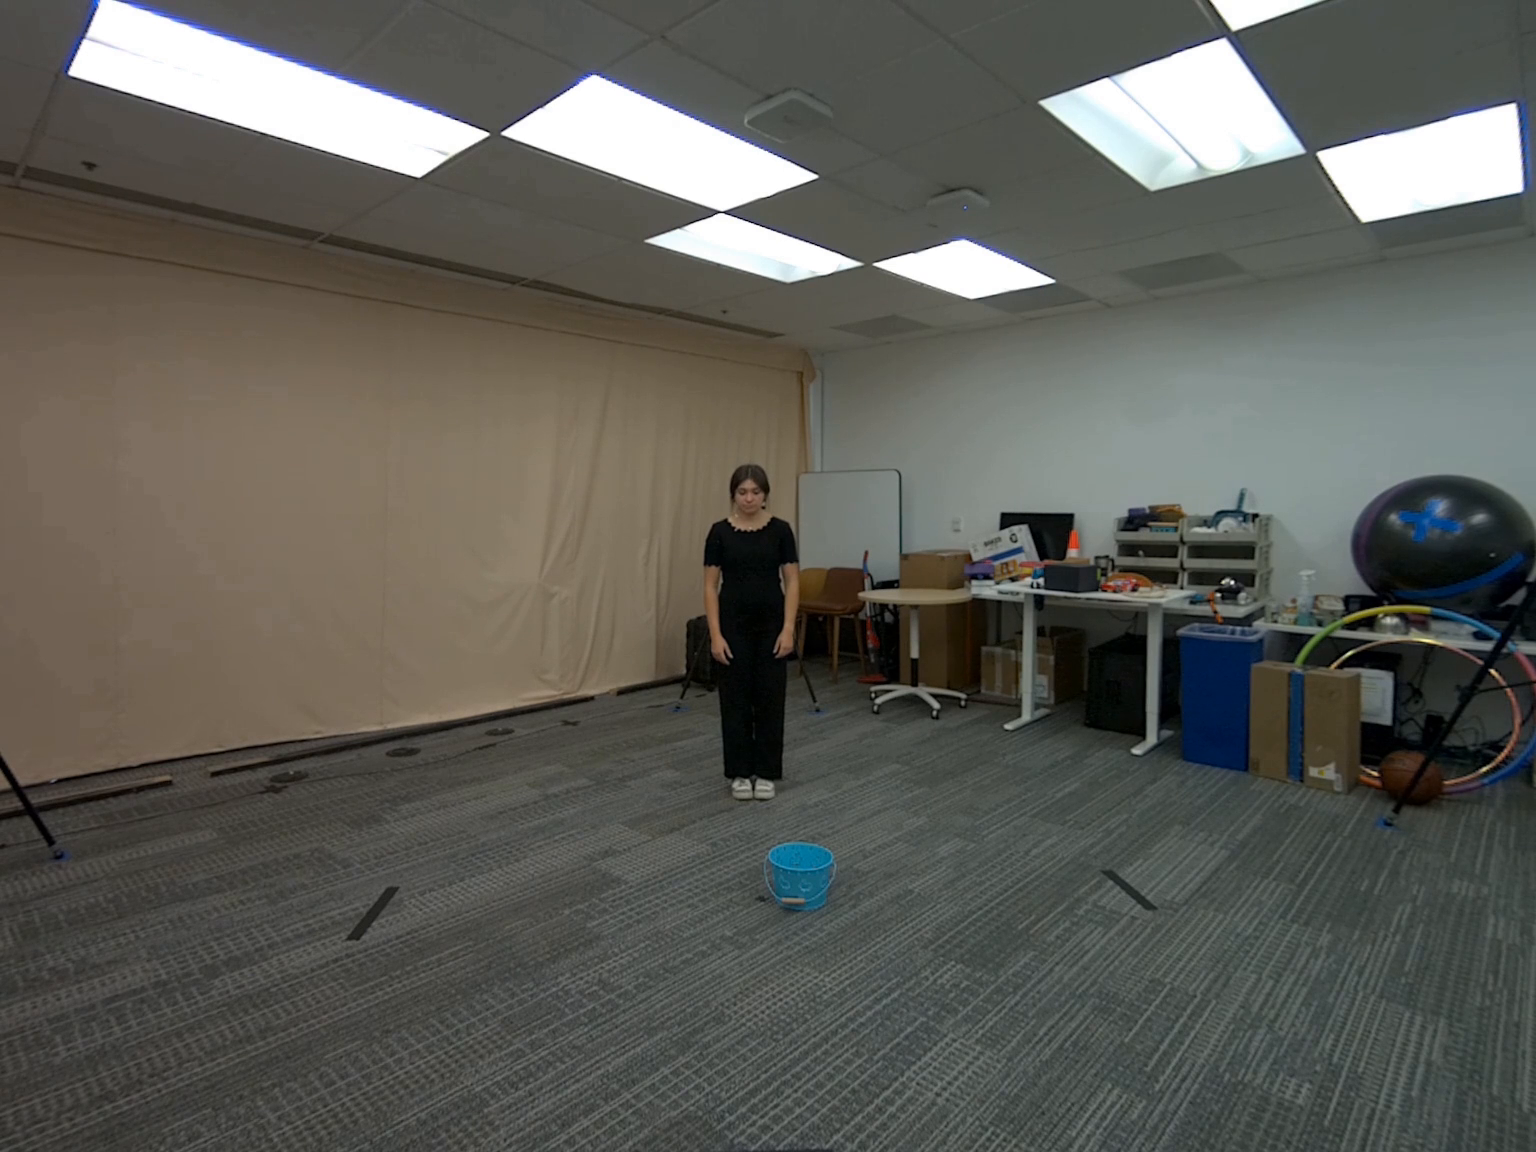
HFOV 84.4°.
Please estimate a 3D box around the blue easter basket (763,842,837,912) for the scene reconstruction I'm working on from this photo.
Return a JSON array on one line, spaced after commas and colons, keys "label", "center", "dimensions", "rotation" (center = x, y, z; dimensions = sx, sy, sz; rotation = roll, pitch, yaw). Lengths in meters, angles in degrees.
[{"label": "blue easter basket", "center": [0.113, 1.059, 2.985], "dimensions": [0.243, 0.155, 0.245], "rotation": [1, 5, -2]}]
